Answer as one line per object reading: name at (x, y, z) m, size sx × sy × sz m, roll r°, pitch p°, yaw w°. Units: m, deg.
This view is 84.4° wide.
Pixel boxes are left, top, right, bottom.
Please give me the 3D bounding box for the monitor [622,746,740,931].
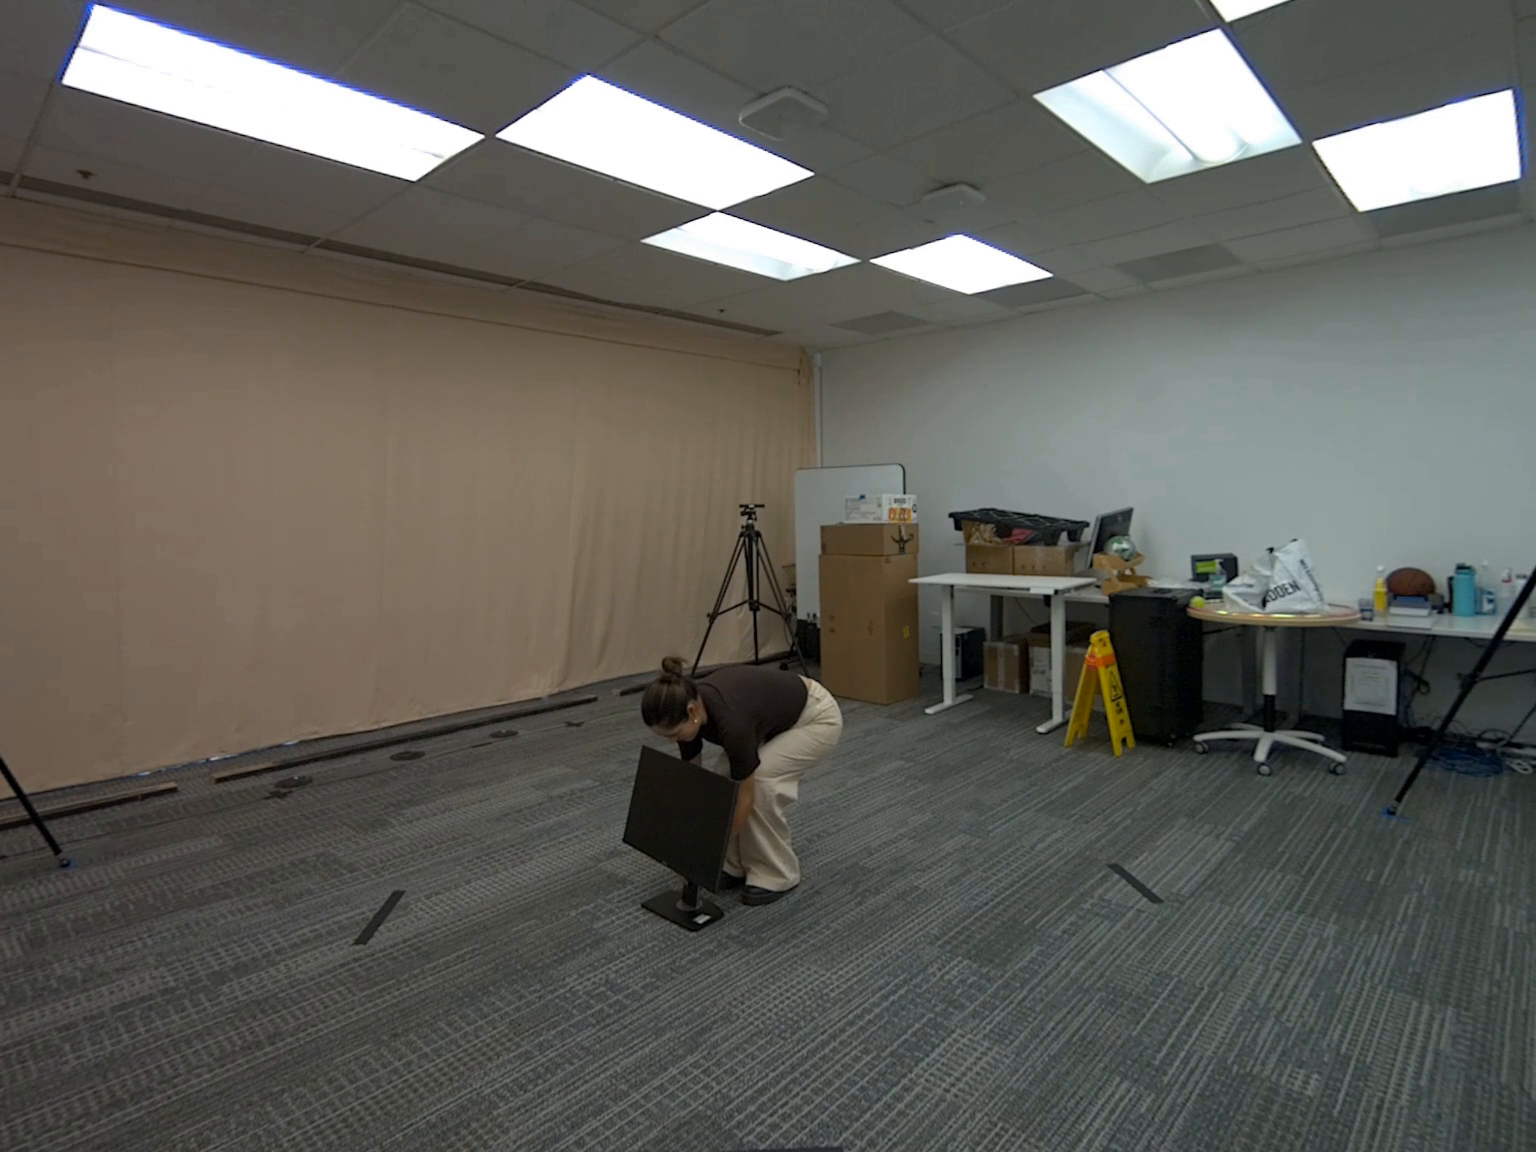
monitor at (-0.293, 0.905, 2.891) m, size 0.181 × 0.521 × 0.557 m, roll -2°, pitch 4°, yaw -42°
